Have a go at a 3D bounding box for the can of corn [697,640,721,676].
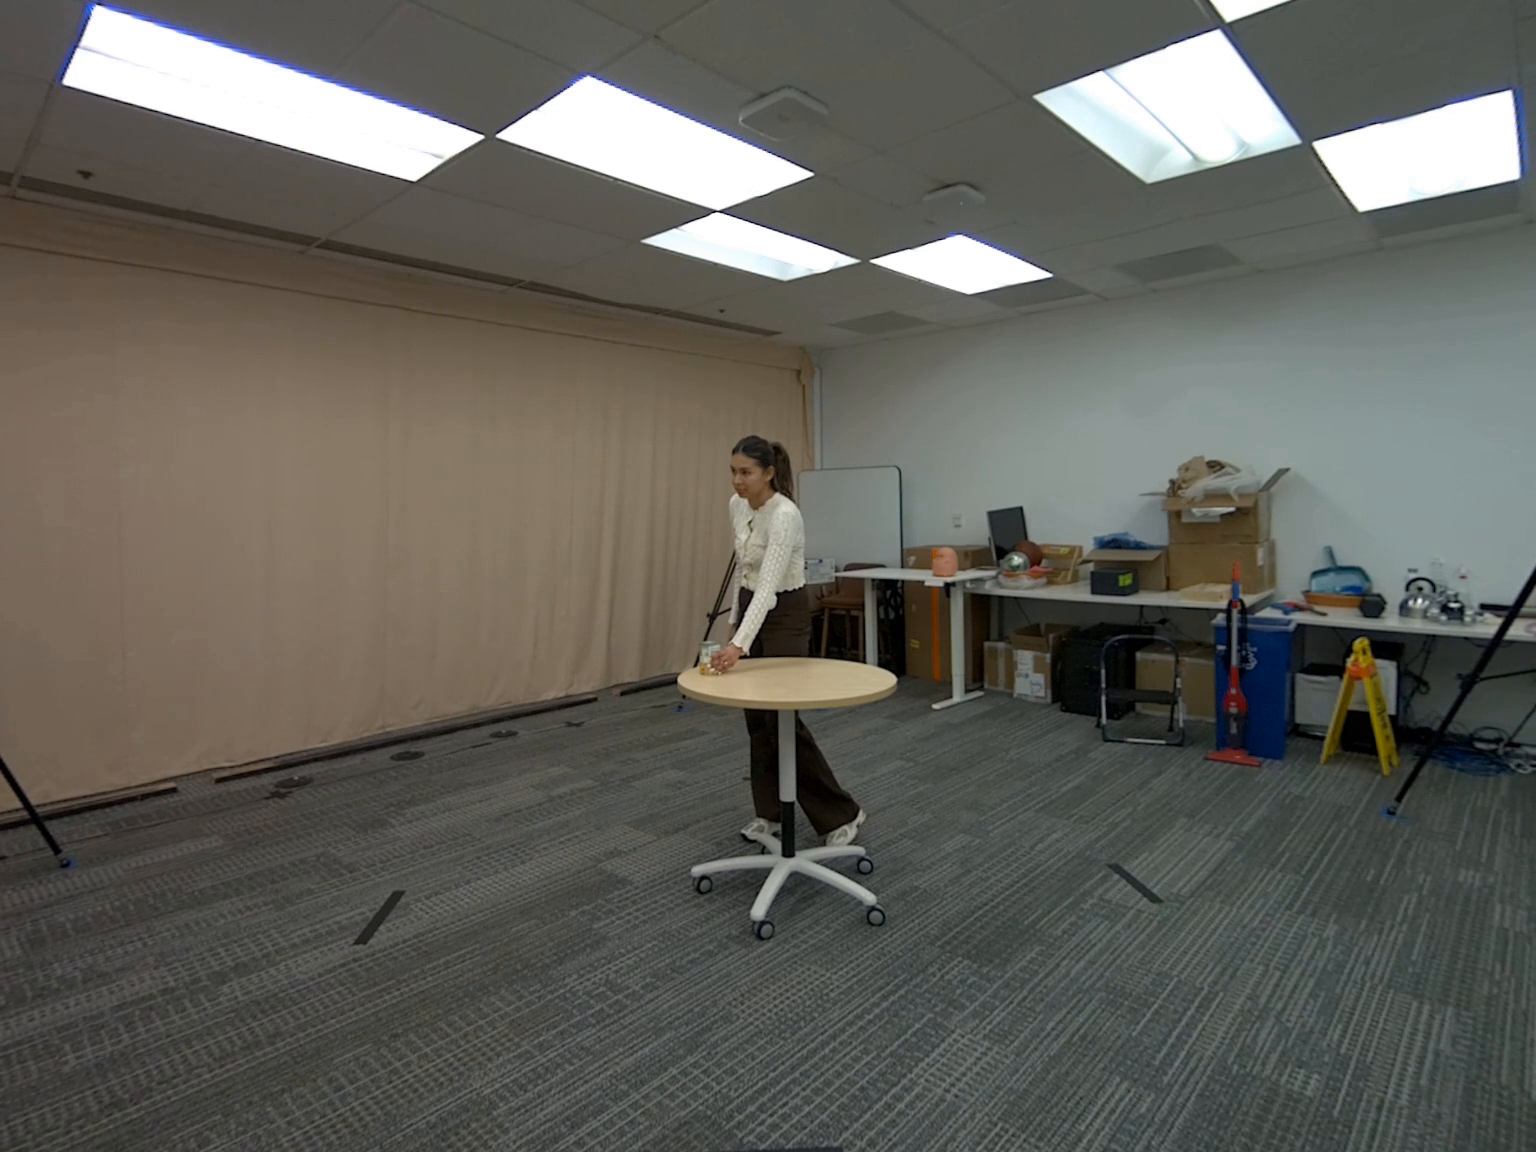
[{"bbox_3d":[-0.205,0.295,3.041,0.074,0.110,0.074,1,6,-2],"label":"can of corn"}]
